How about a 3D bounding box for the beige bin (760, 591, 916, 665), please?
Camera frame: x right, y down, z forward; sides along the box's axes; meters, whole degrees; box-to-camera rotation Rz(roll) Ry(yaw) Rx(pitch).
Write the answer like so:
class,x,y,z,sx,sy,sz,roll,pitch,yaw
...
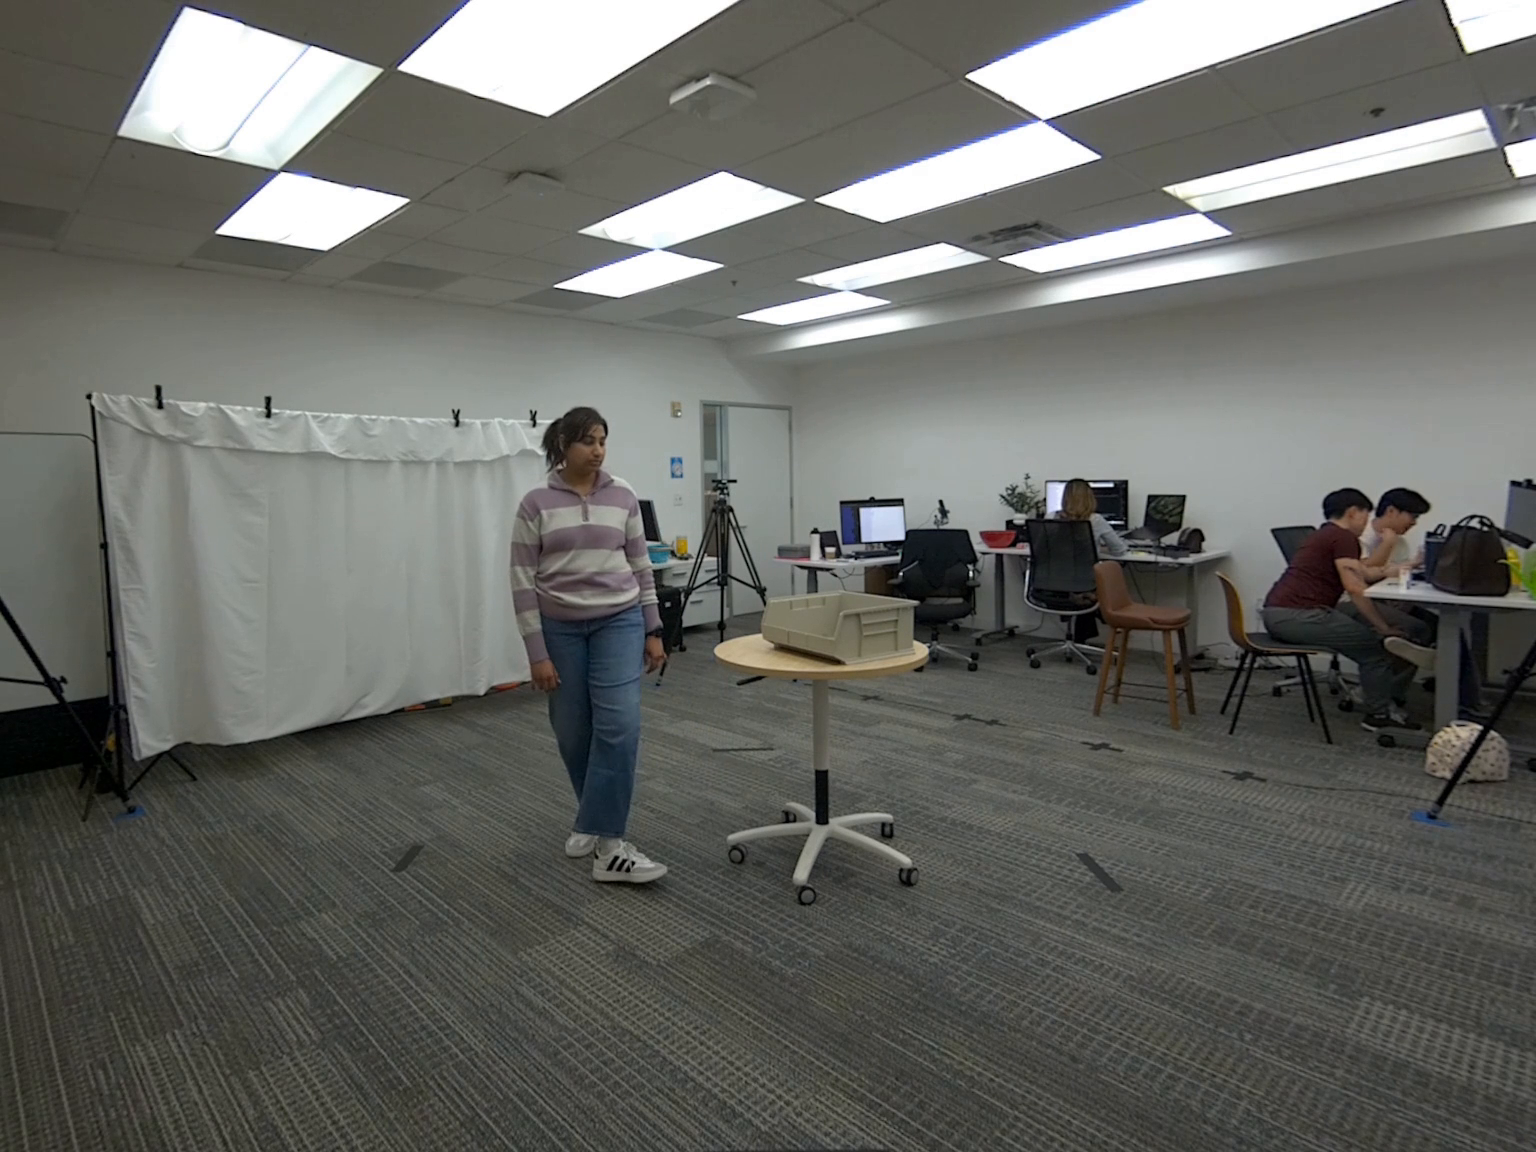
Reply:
class,x,y,z,sx,sy,sz,roll,pitch,yaw
beige bin,0.247,0.178,3.019,0.368,0.188,0.434,-4,6,-33
